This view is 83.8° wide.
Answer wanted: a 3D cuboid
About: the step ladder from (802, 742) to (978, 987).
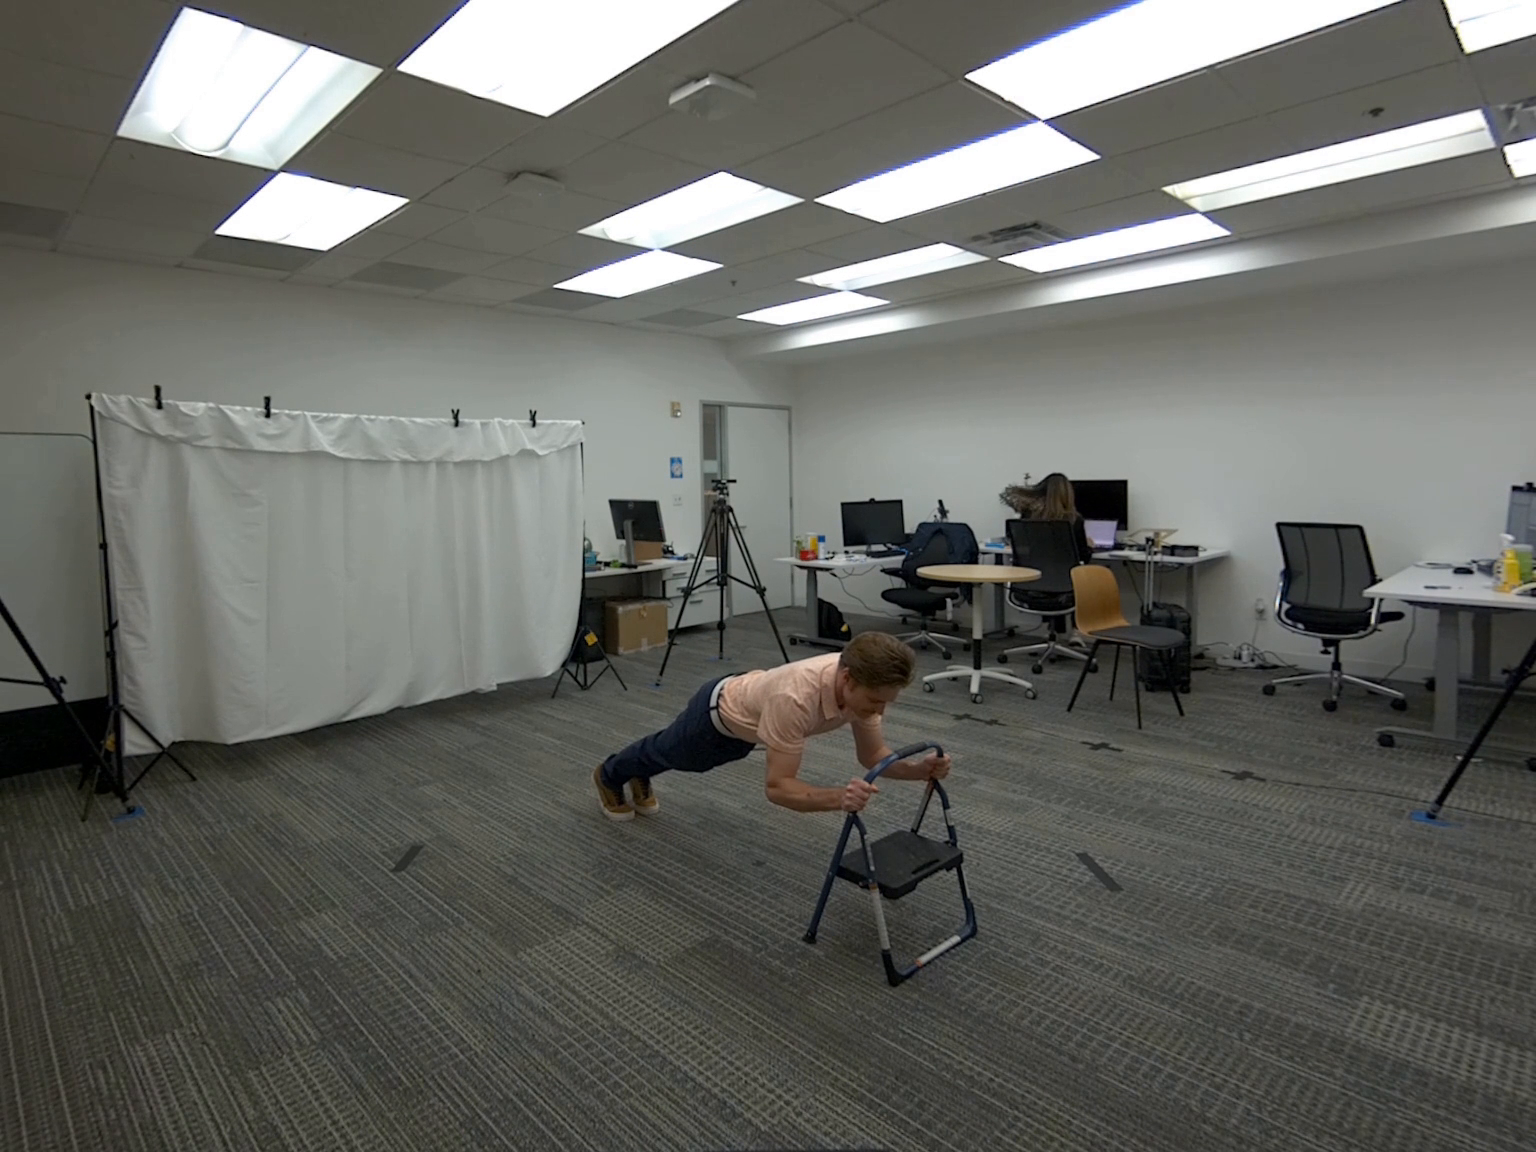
[{"bbox_3d":[0.376,0.800,2.579,0.419,0.604,0.360,-5,6,-43],"label":"step ladder"}]
